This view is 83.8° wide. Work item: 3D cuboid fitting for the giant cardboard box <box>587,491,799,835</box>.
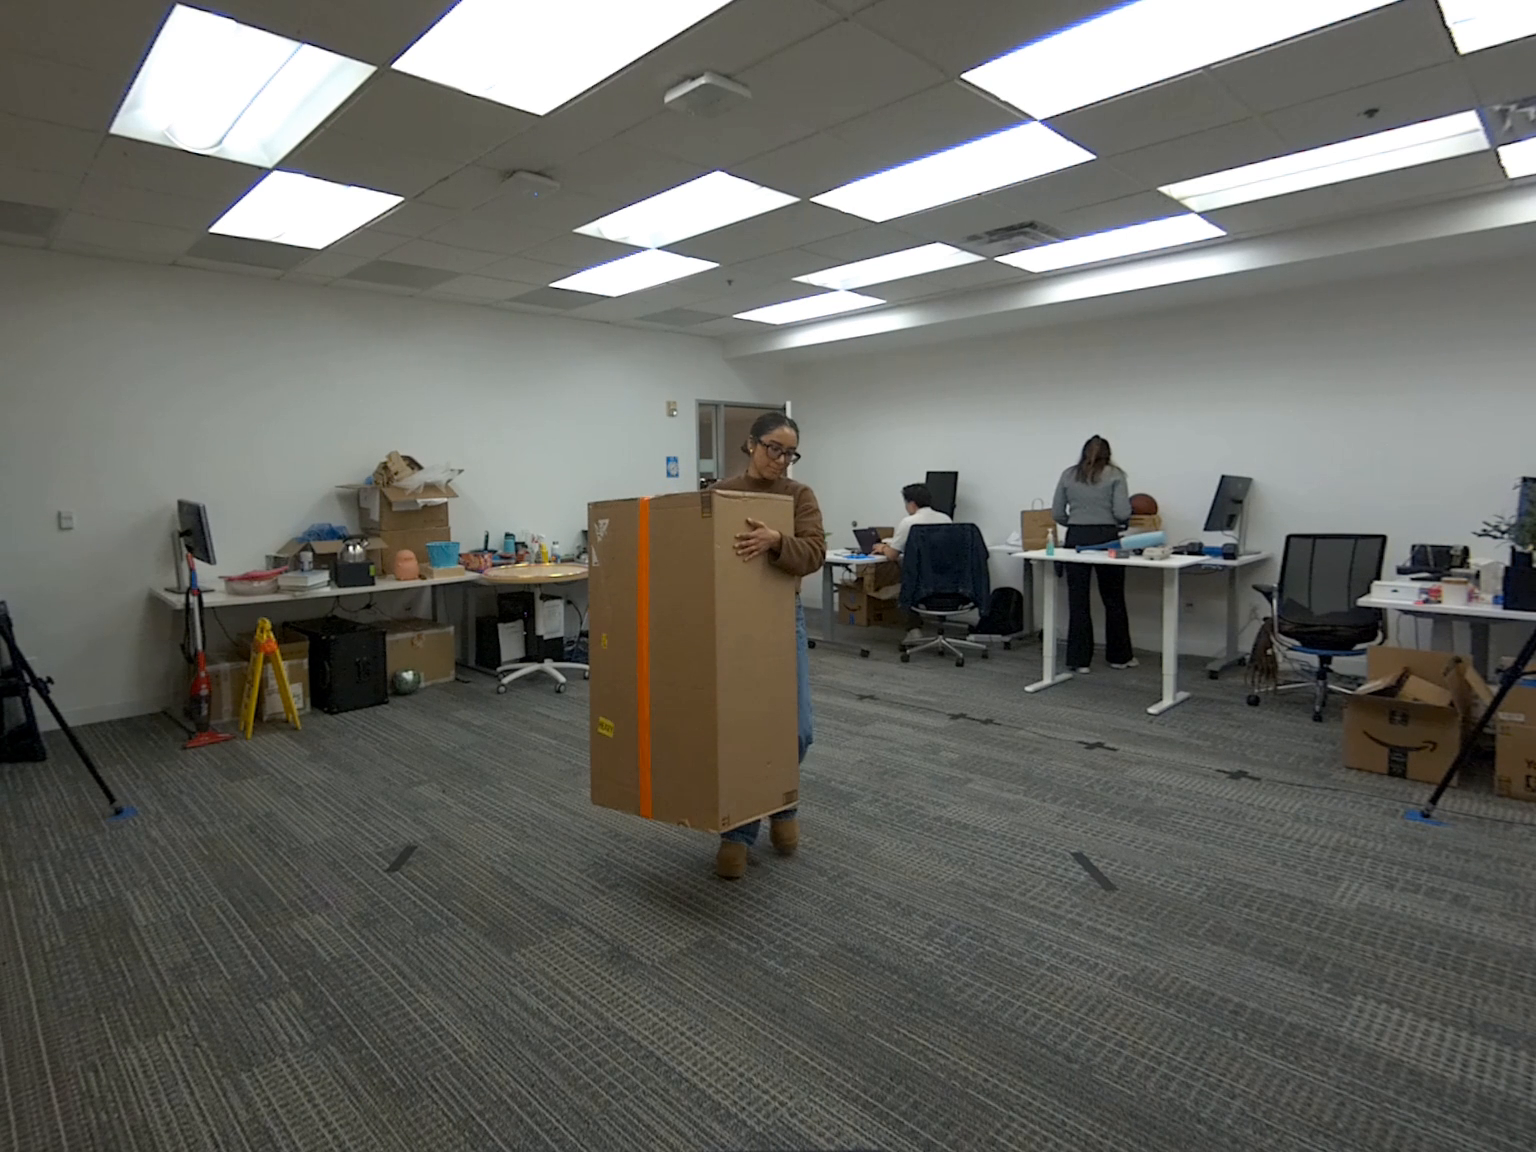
[{"bbox_3d":[-0.262,0.258,2.876,0.593,1.028,0.414,-3,-3,39],"label":"giant cardboard box"}]
